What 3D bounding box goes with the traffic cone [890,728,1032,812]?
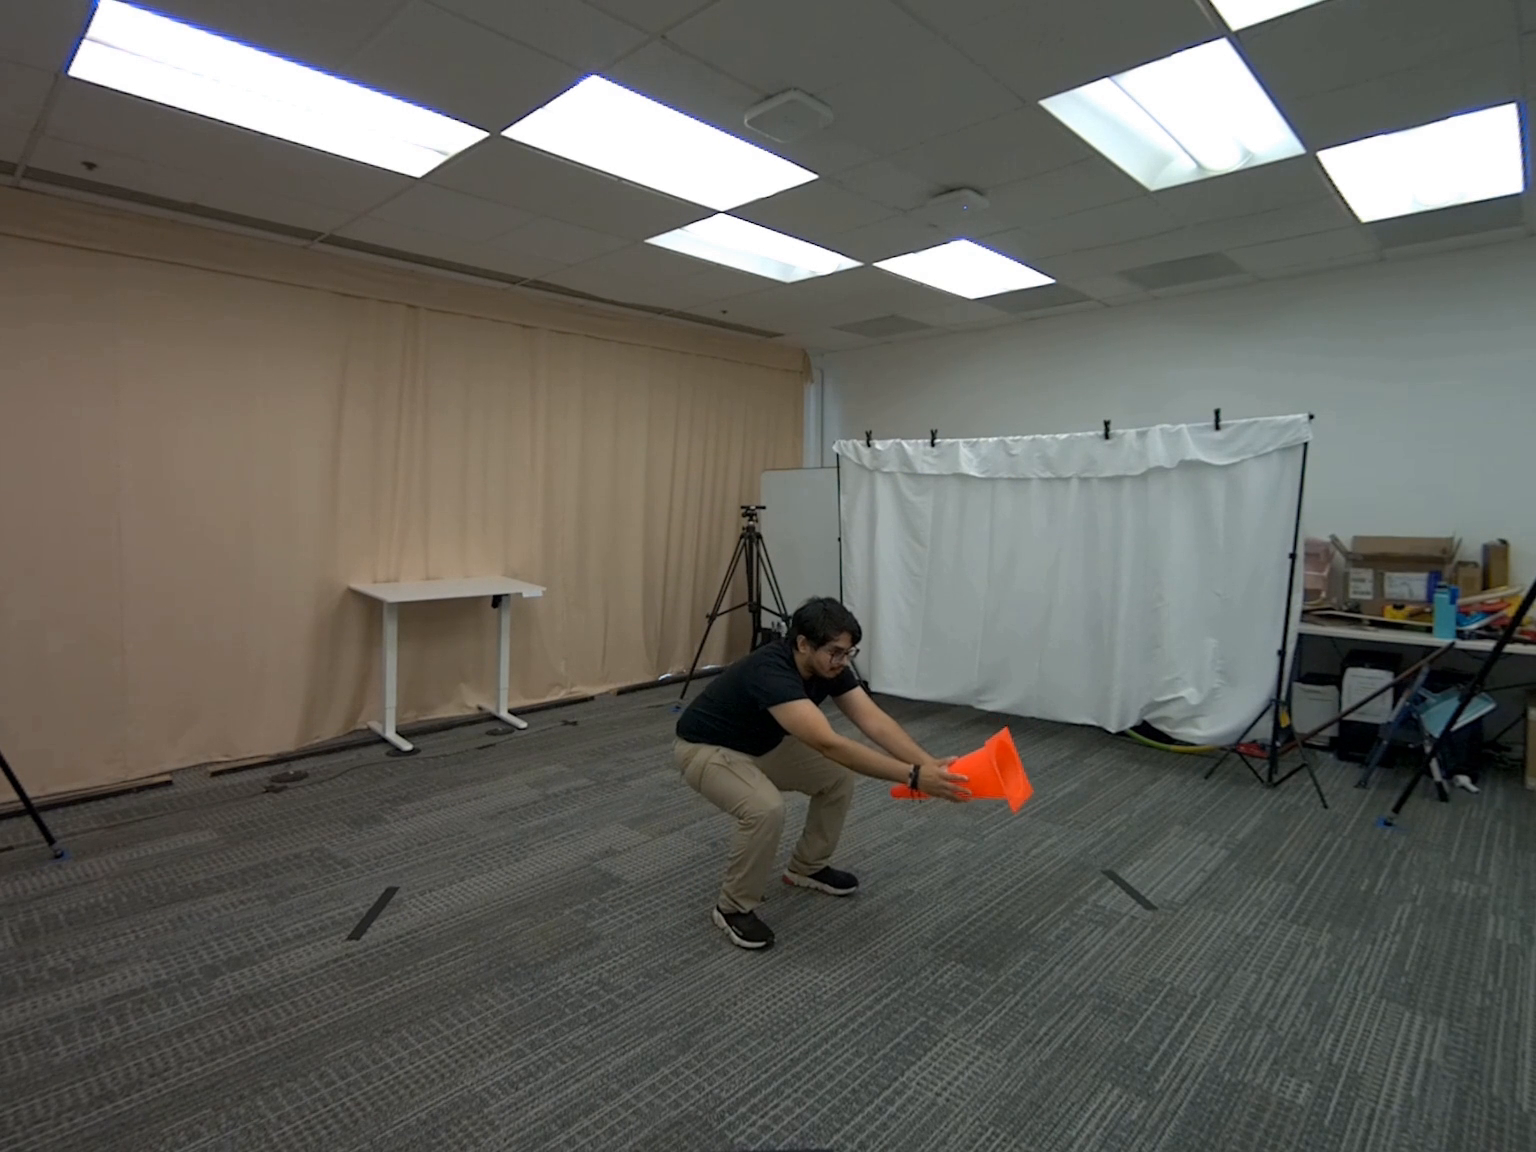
[{"bbox_3d":[0.545,0.599,2.474,0.392,0.205,0.199,-21,-7,33],"label":"traffic cone"}]
